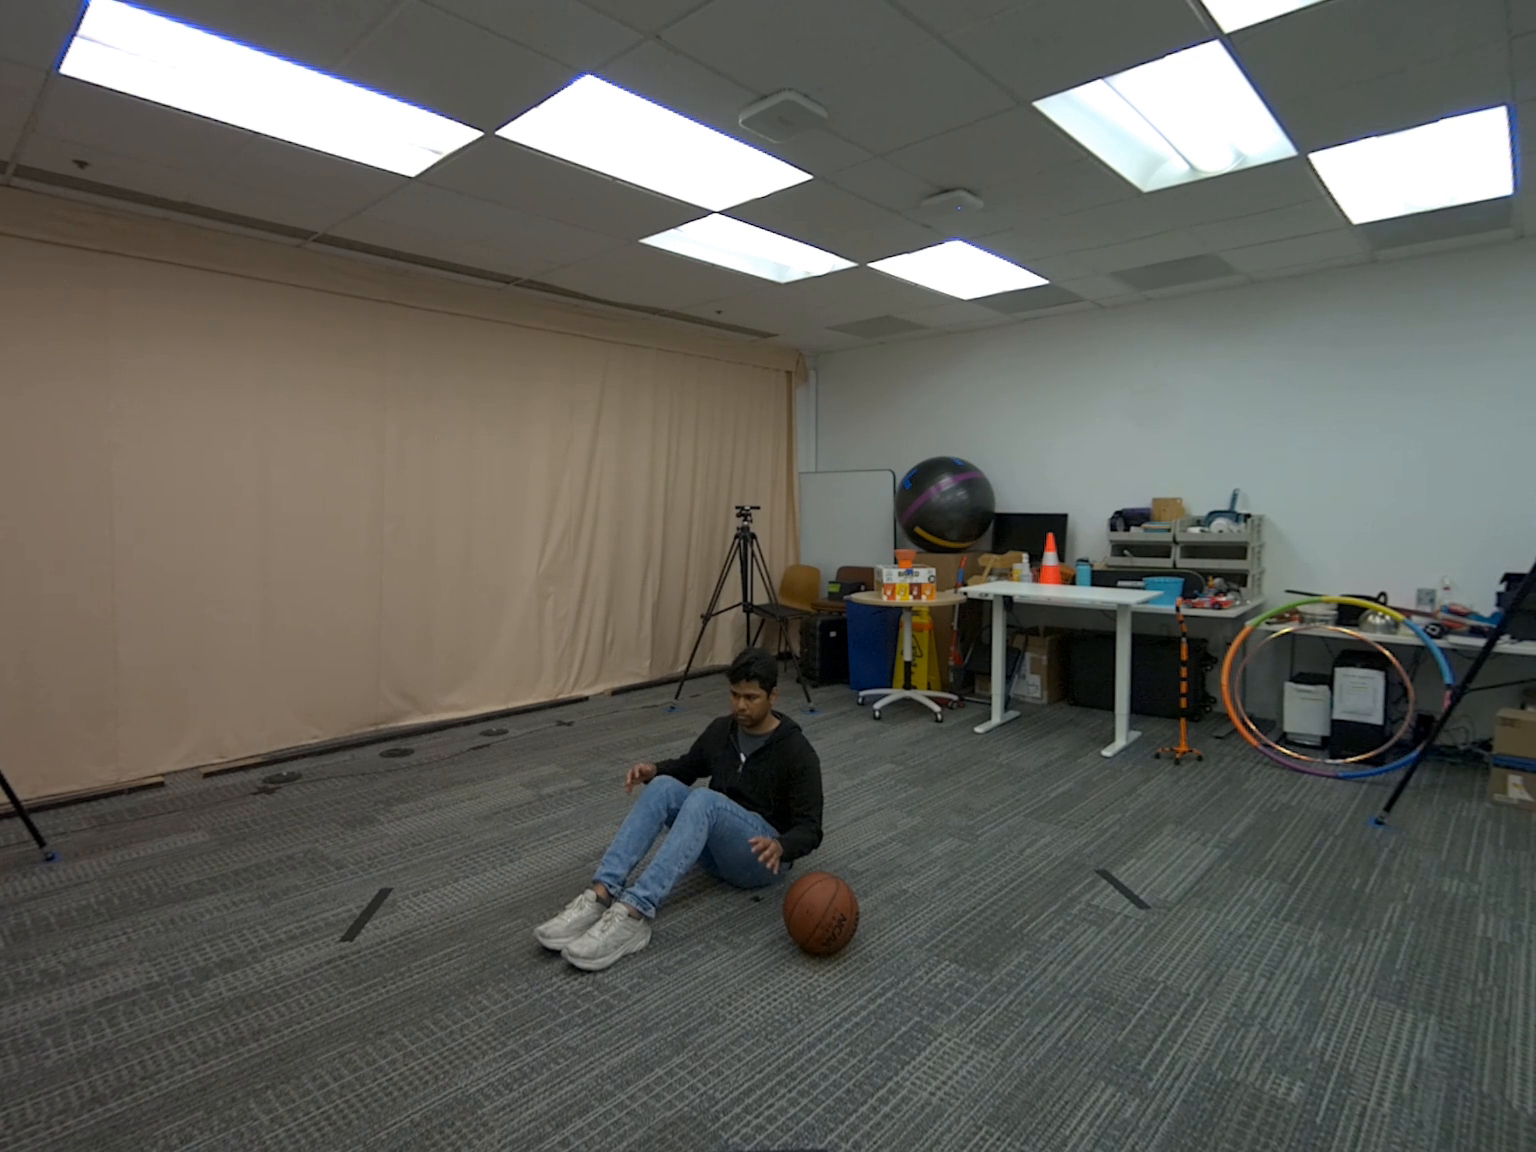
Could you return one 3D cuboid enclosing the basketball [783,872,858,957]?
[{"bbox_3d":[0.169,1.044,2.641,0.236,0.235,0.237,0,4,-2],"label":"basketball"}]
